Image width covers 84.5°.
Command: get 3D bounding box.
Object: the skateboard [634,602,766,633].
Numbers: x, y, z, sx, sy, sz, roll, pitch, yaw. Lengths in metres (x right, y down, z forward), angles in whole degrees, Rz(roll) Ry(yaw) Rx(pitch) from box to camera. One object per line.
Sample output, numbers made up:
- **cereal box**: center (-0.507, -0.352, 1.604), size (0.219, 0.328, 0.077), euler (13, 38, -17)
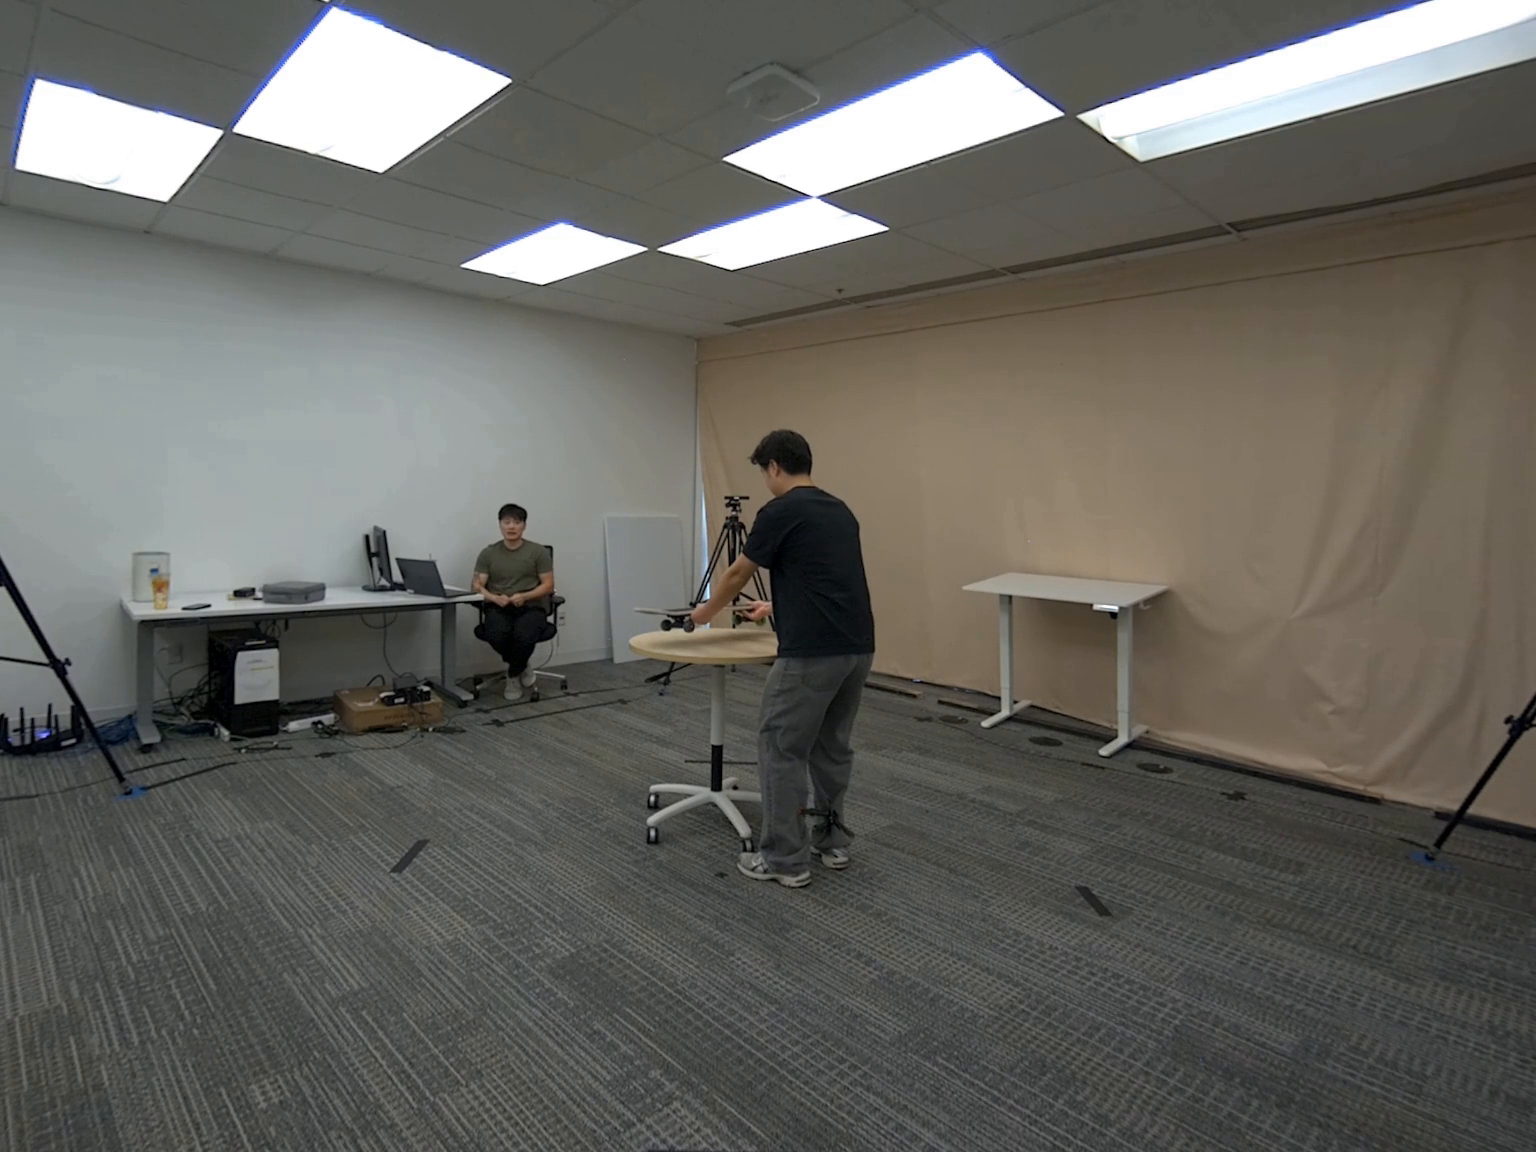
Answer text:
- **skateboard**: center (-0.236, 0.164, 3.610), size (0.768, 0.110, 0.198), euler (-3, 2, -38)
